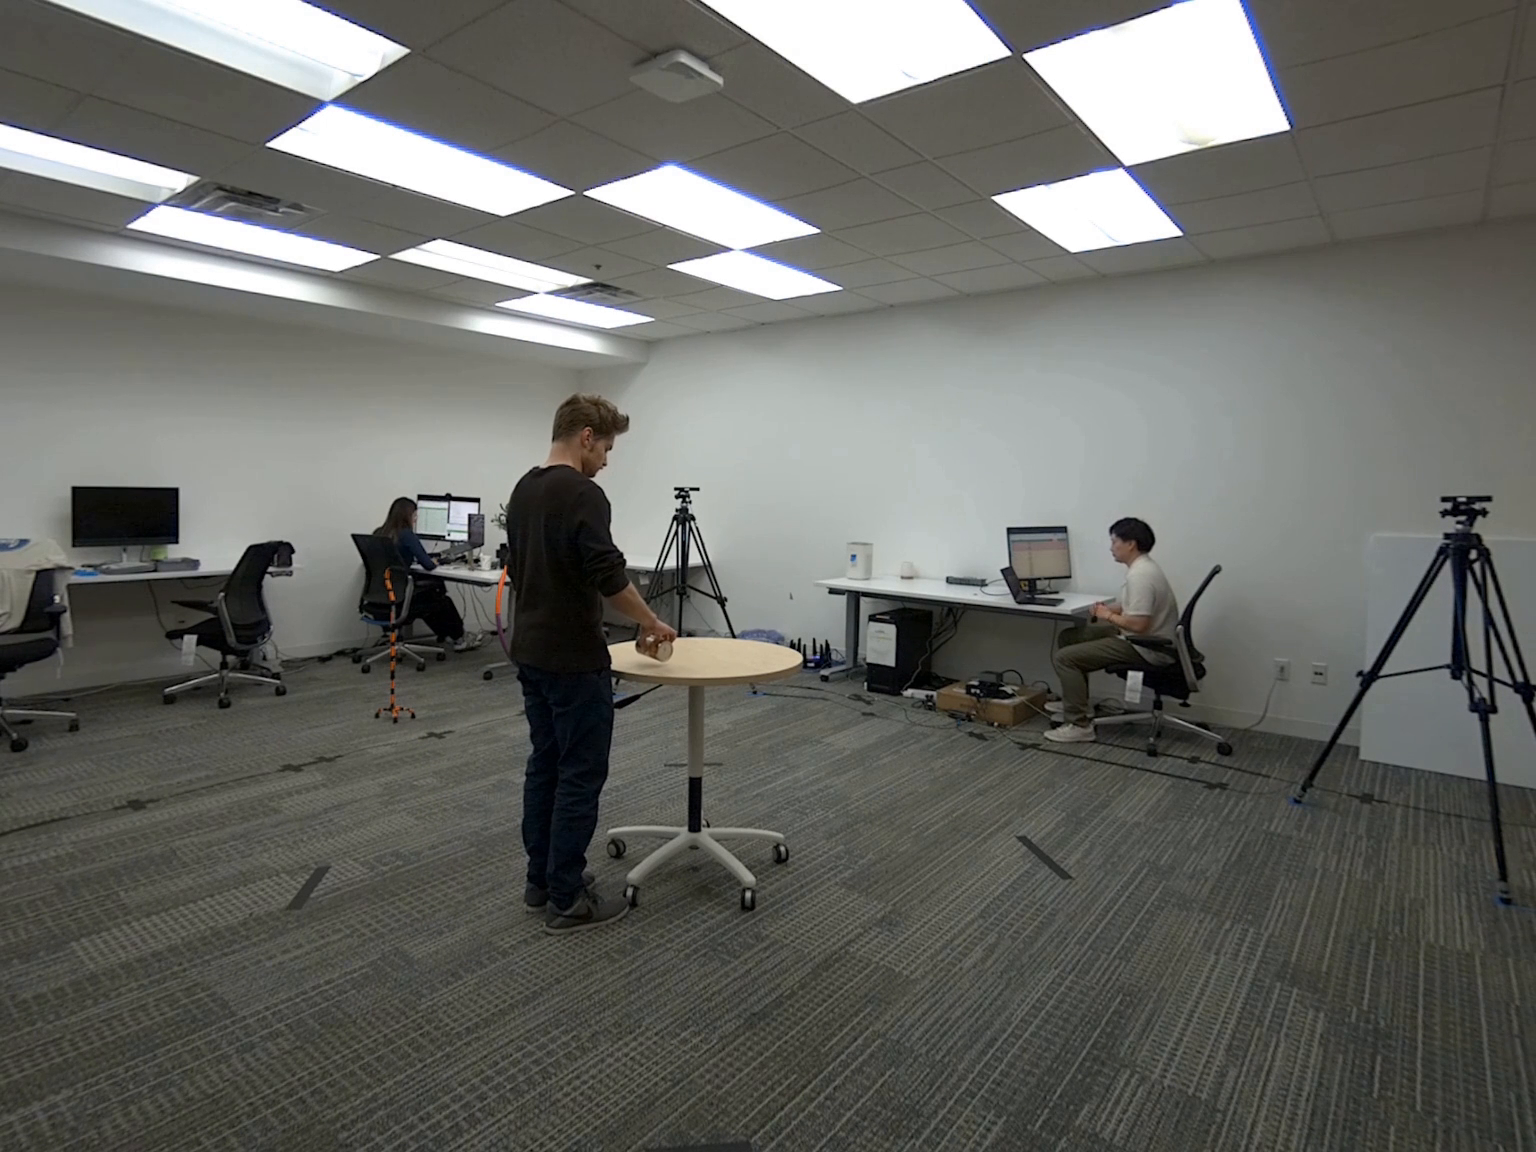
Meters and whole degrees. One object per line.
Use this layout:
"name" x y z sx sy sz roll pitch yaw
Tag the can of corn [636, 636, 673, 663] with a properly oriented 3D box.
"can of corn" -0.402 0.244 2.887 0.072 0.074 0.115 -3 12 -45
